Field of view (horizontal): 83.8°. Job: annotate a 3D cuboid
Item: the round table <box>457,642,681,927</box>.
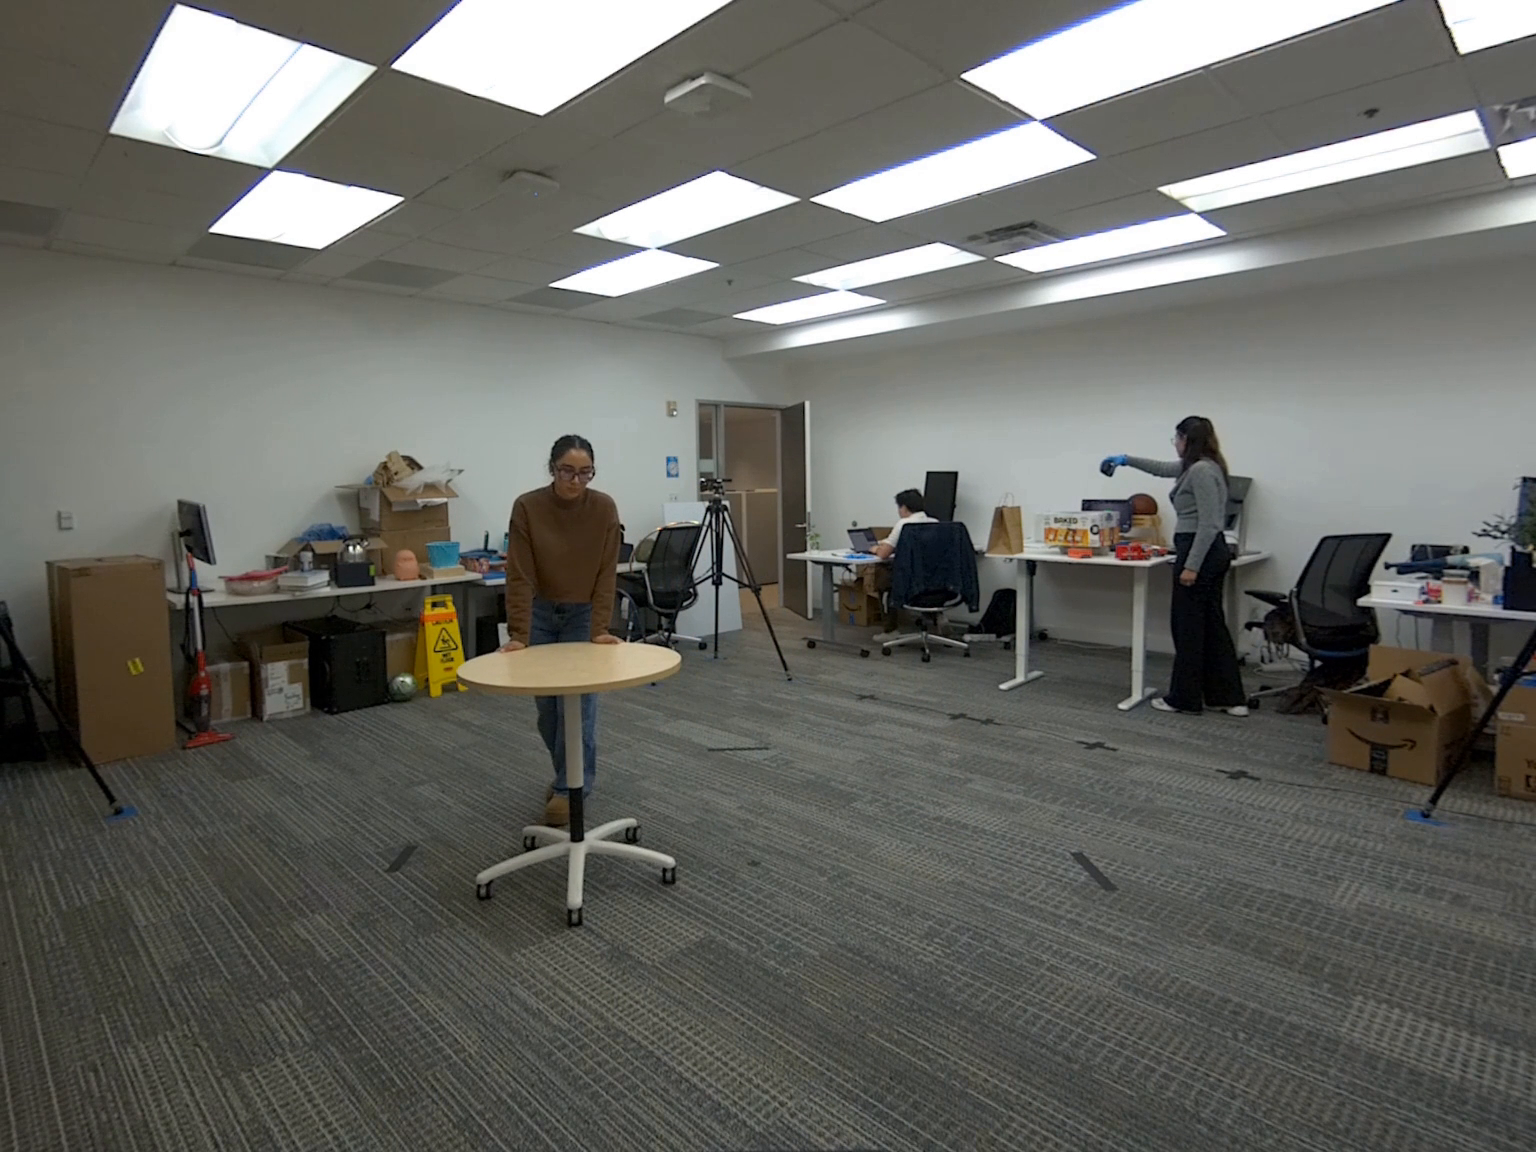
[{"bbox_3d":[-0.672,0.684,2.996,0.763,0.791,0.768,-2,5,-2],"label":"round table"}]
